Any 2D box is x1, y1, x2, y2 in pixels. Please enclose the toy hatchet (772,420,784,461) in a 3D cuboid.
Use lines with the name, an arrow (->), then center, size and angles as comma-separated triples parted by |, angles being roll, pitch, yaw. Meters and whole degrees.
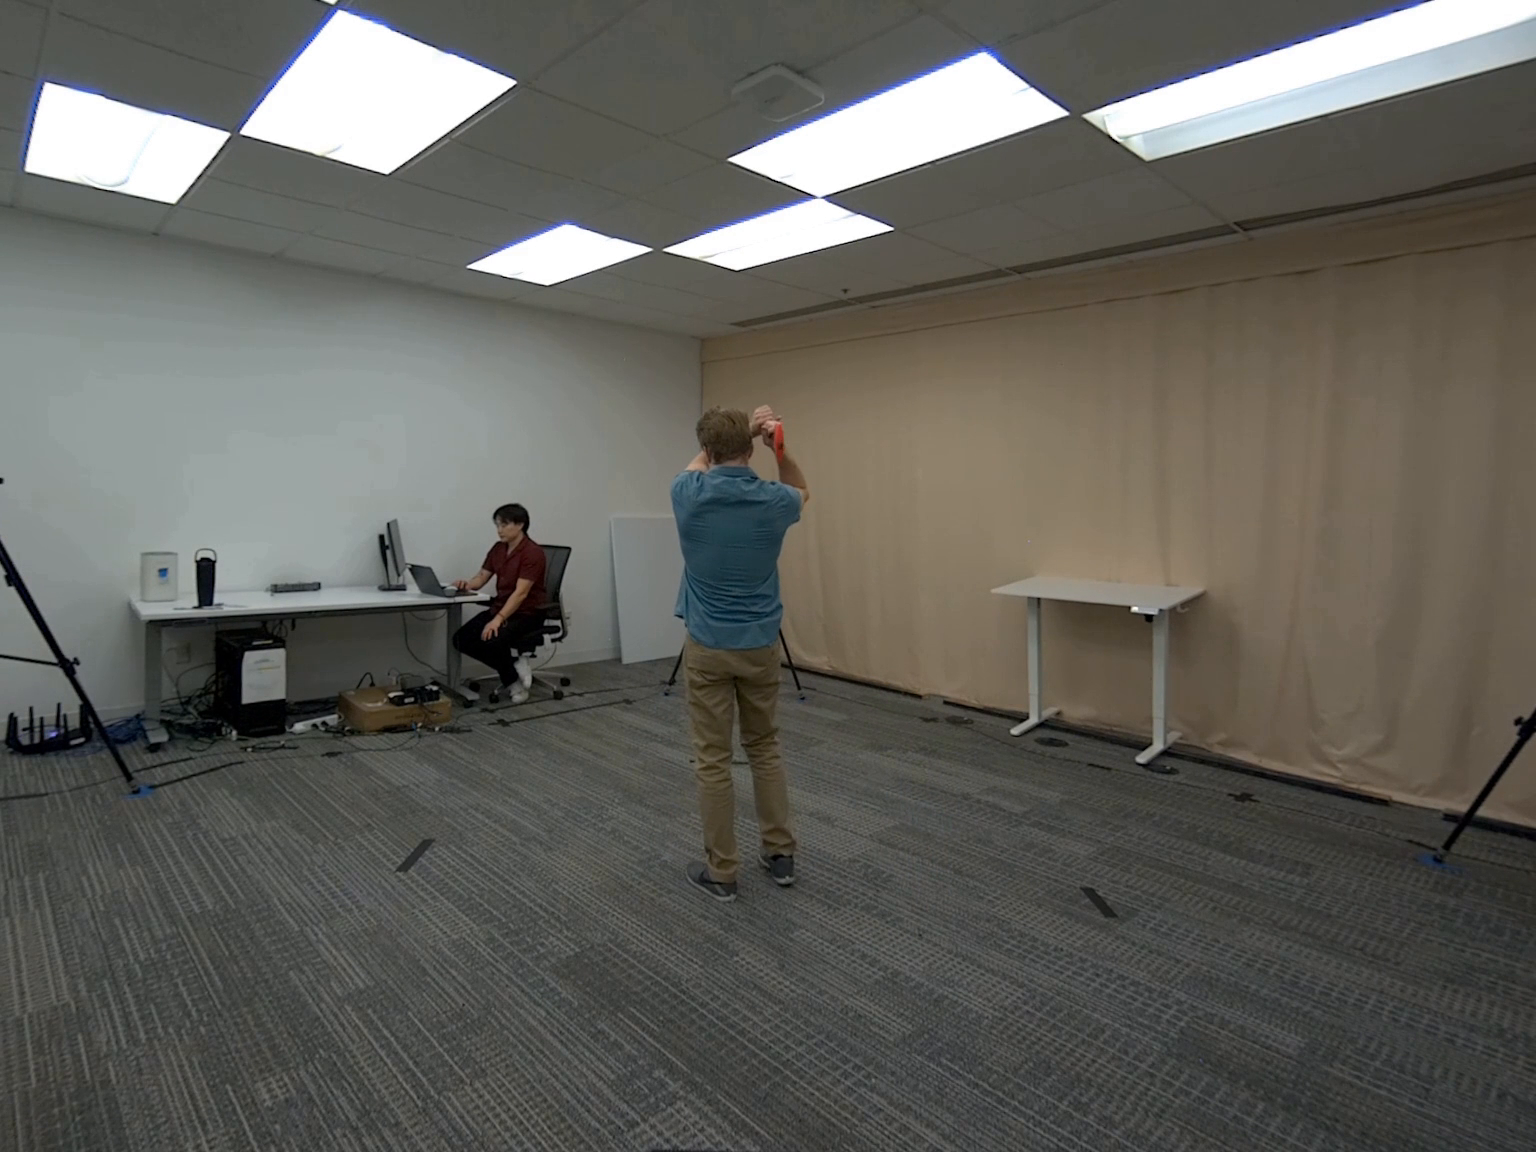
toy hatchet -> -0.006, -0.523, 2.951 | 0.029, 0.128, 0.278 | -6, 40, -14
